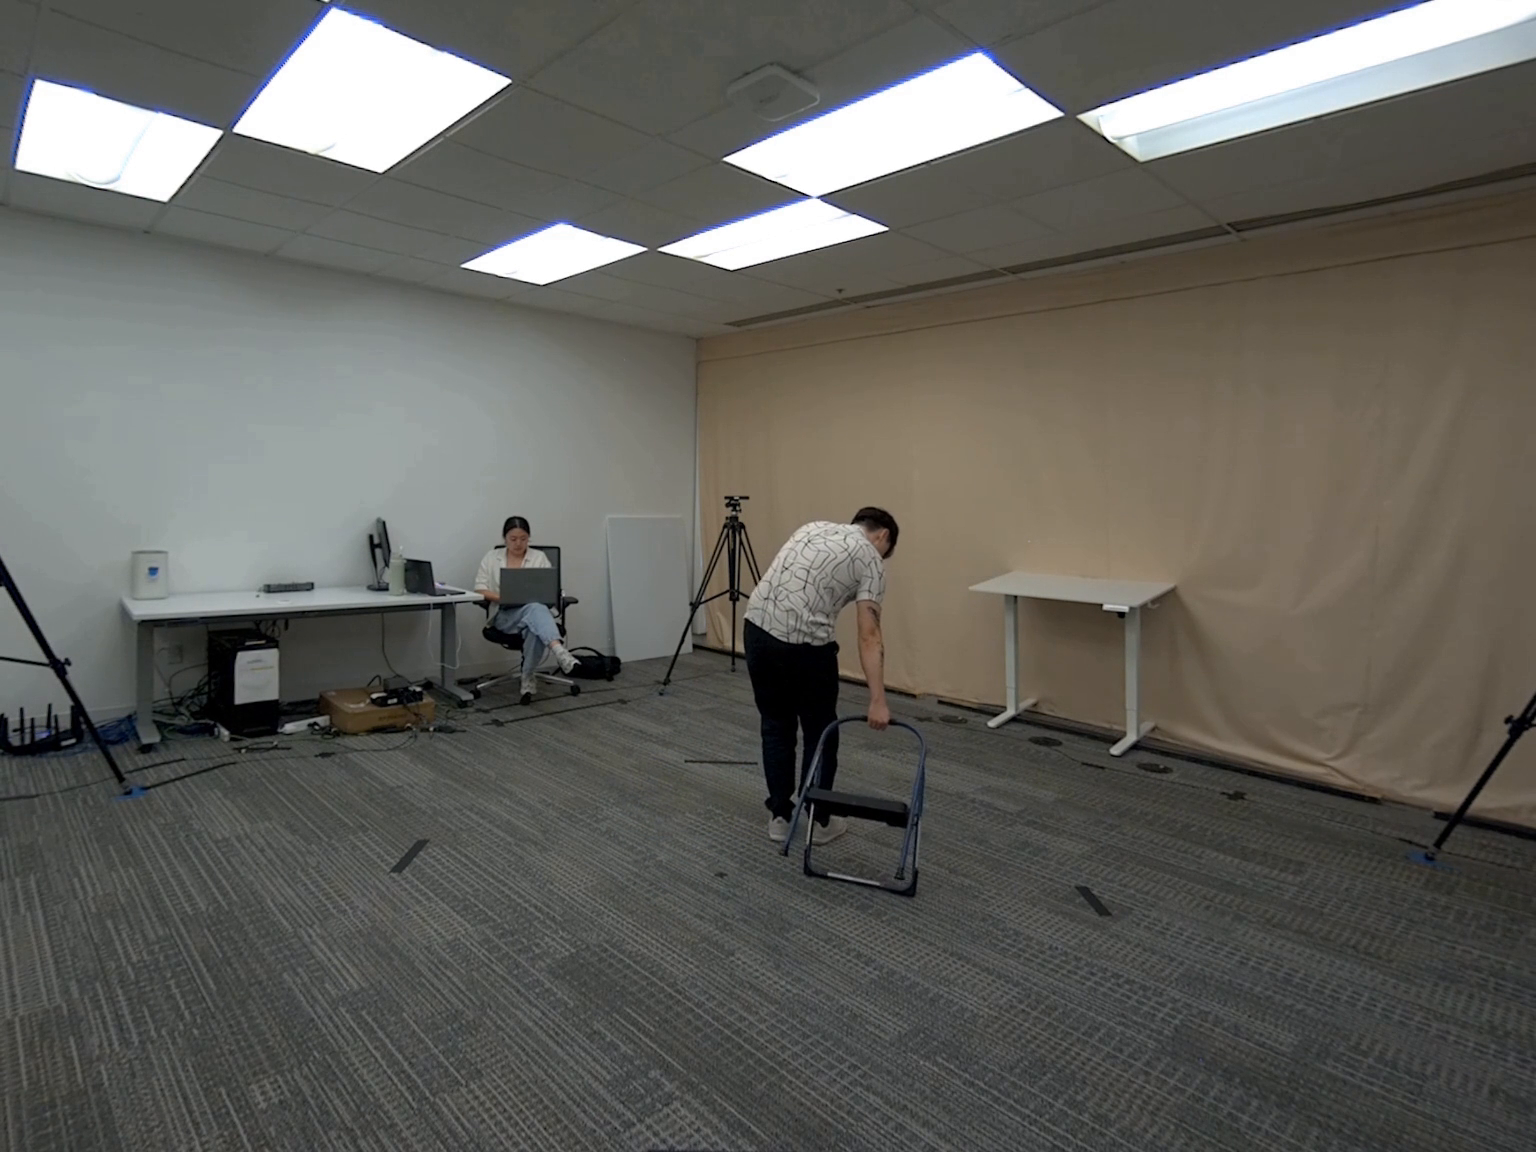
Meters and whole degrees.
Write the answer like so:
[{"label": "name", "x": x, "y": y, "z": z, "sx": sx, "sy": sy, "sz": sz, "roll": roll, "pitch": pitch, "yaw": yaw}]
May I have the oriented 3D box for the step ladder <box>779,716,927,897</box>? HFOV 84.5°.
[{"label": "step ladder", "x": 0.349, "y": 0.785, "z": 3.054, "sx": 0.438, "sy": 0.614, "sz": 0.339, "roll": 3, "pitch": -30, "yaw": 21}]
